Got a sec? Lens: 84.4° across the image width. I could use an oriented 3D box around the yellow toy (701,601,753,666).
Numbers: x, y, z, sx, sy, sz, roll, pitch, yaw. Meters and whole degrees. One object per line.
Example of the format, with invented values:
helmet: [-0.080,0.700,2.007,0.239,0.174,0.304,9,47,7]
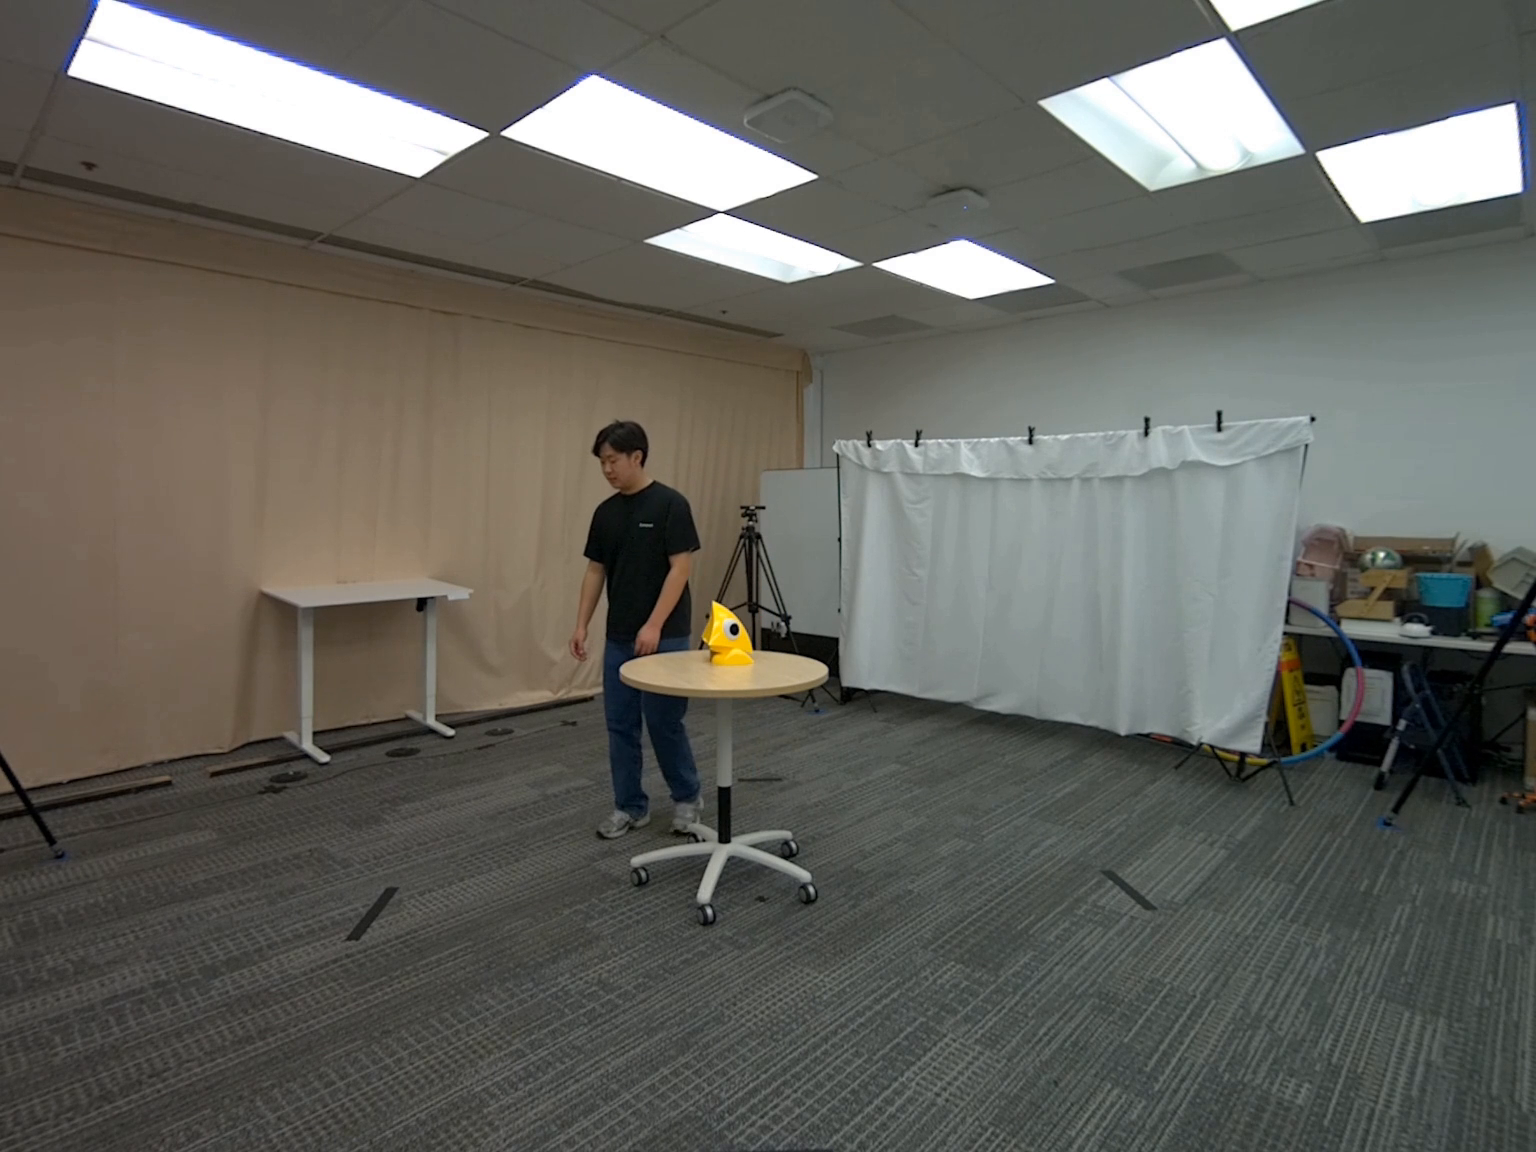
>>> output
yellow toy: [-0.152,0.211,3.244,0.191,0.230,0.207,-2,4,-10]
